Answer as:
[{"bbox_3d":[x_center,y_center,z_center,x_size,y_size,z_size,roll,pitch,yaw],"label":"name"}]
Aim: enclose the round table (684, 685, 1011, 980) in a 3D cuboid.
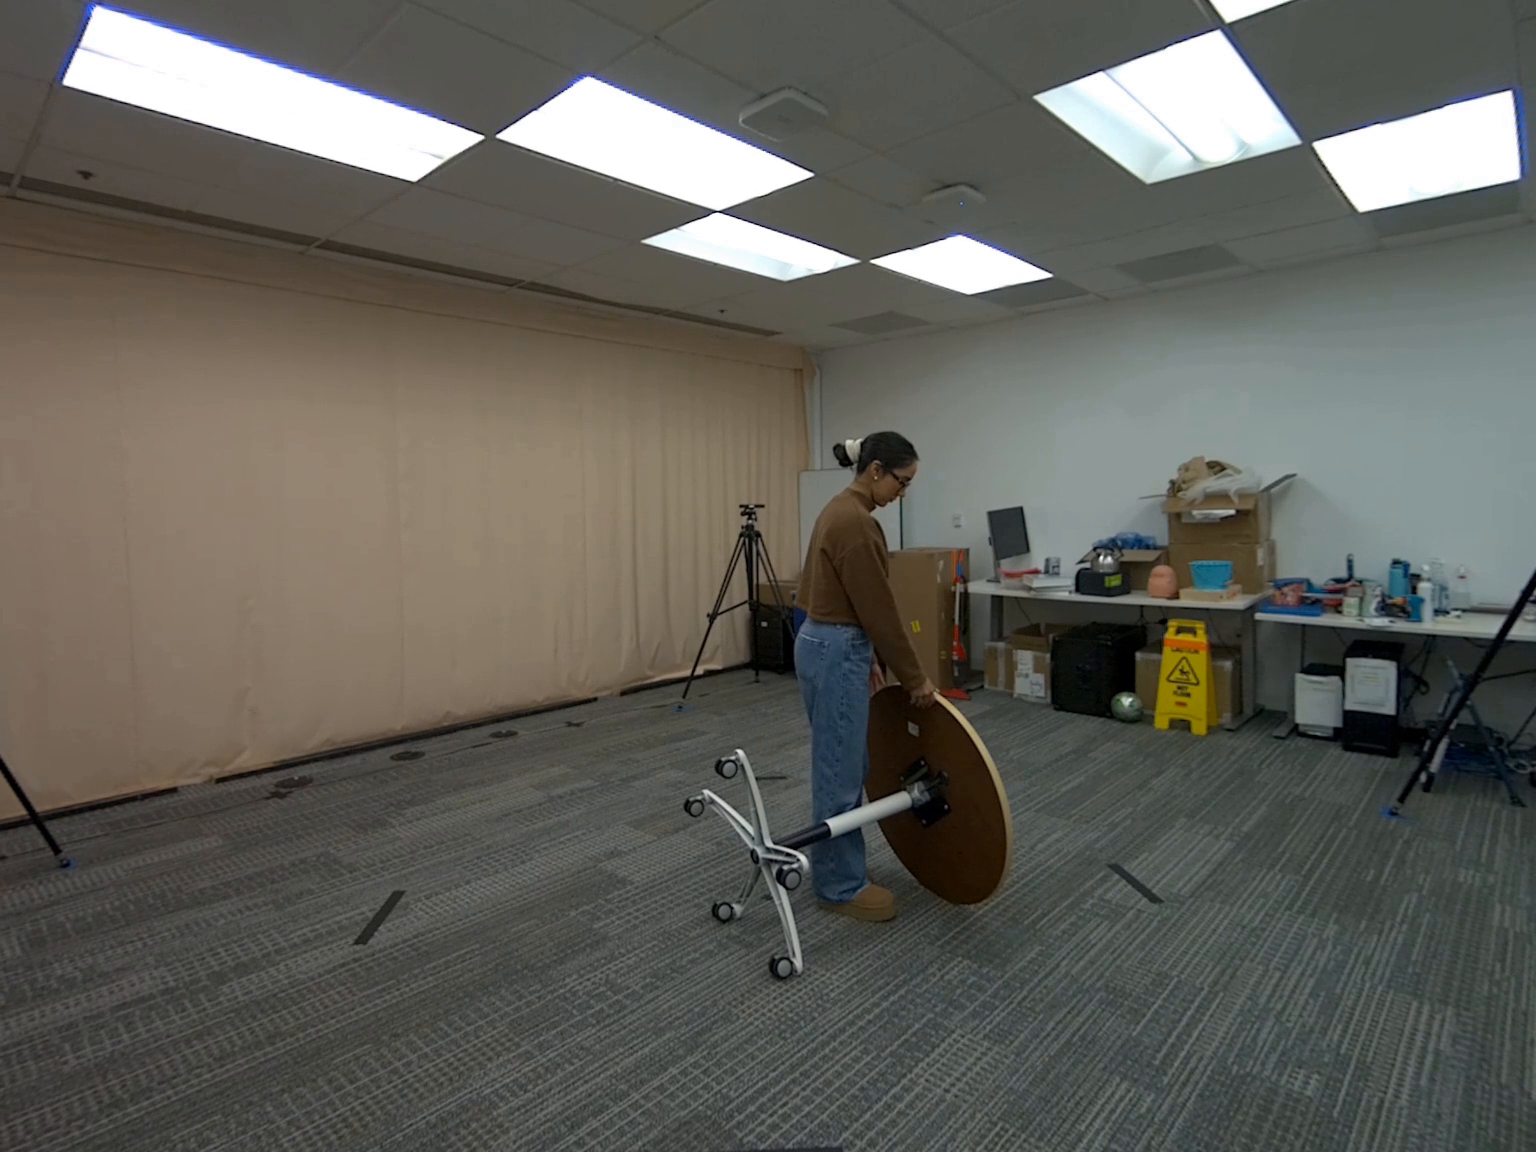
[{"bbox_3d":[0.234,0.819,2.772,0.776,0.760,0.785,-12,8,-27],"label":"round table"}]
